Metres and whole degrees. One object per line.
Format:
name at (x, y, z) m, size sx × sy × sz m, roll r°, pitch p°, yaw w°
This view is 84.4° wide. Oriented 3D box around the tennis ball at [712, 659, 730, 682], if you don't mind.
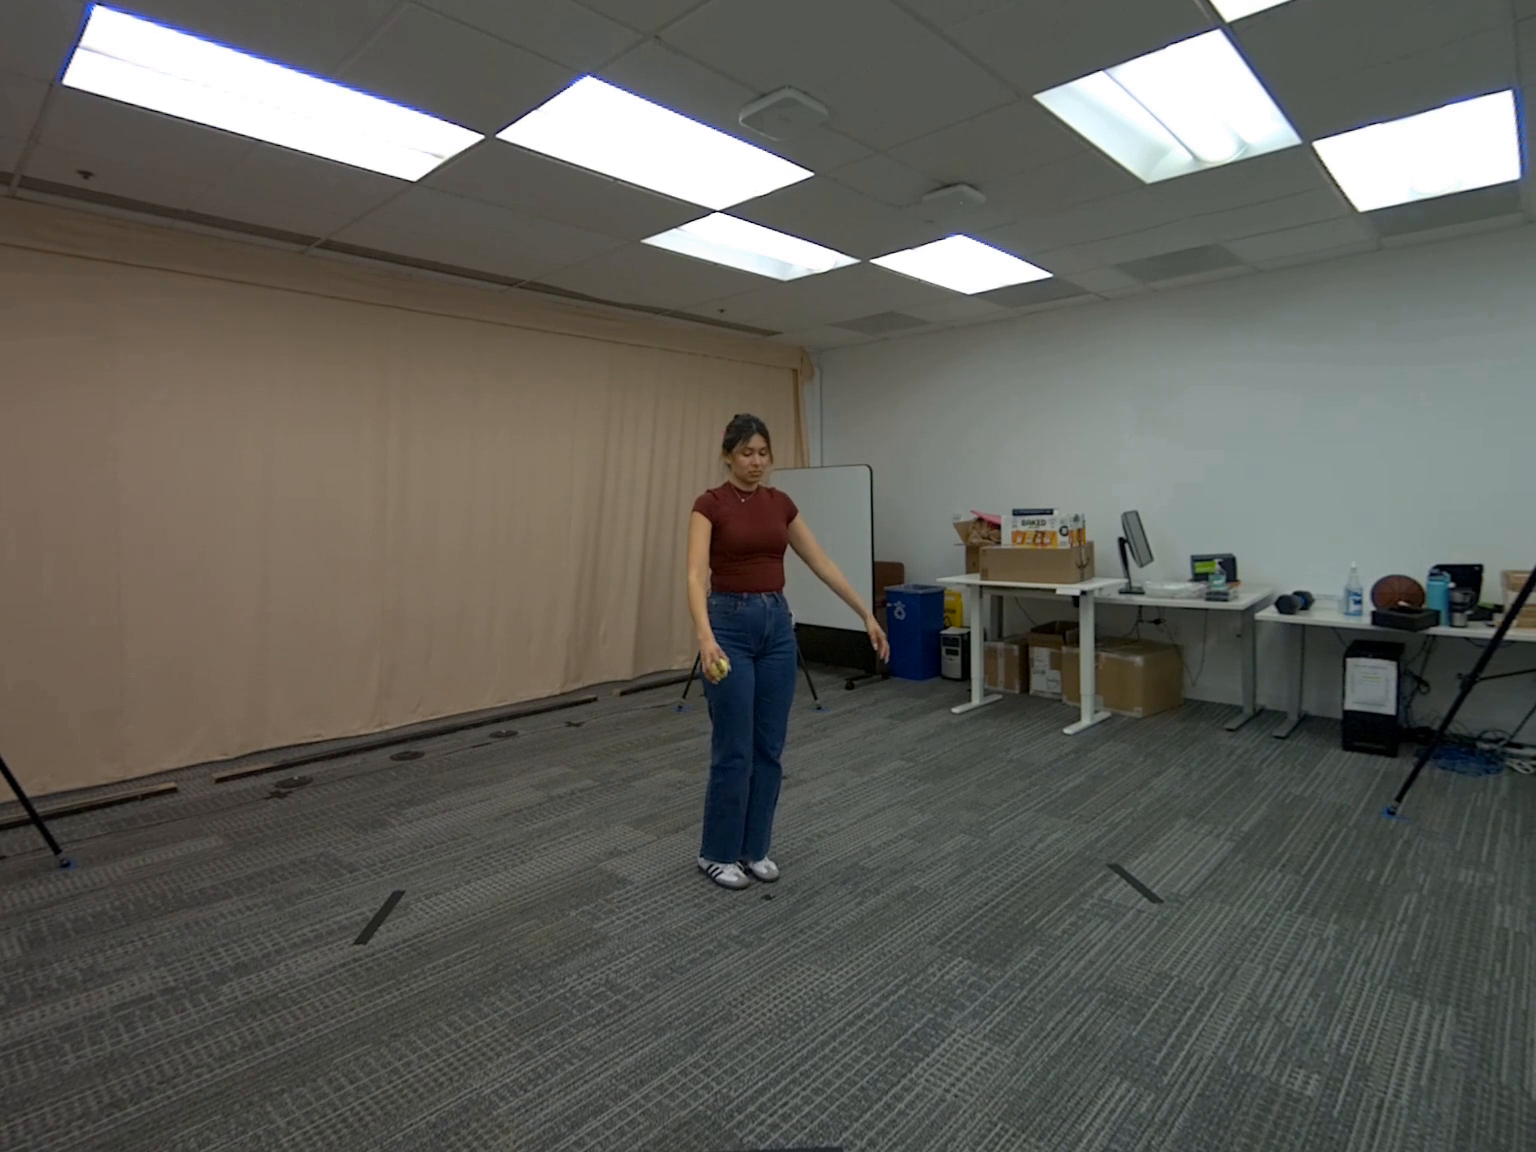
tennis ball at (-0.151, 0.279, 2.680) m, size 0.066 × 0.066 × 0.067 m, roll -1°, pitch 4°, yaw -2°
